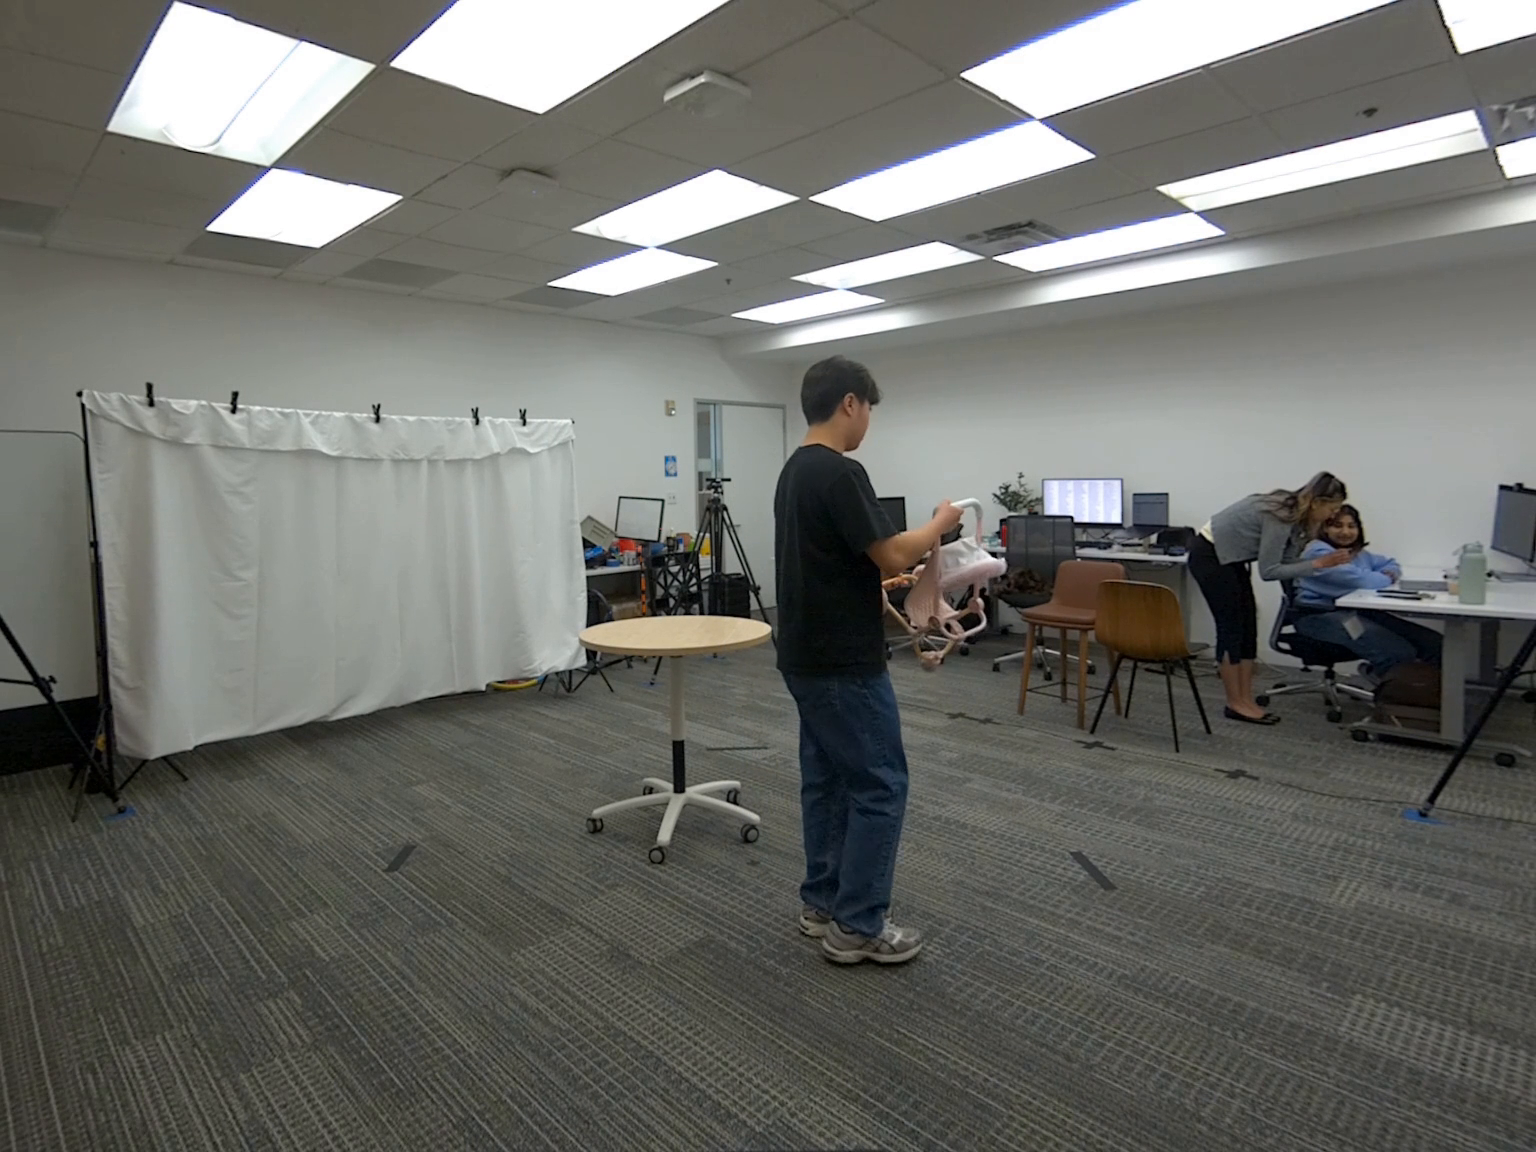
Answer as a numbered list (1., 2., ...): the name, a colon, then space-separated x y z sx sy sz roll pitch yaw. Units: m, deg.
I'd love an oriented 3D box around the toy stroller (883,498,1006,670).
1. toy stroller: 0.557 0.058 2.703 0.275 0.351 0.531 -11 -27 -33
